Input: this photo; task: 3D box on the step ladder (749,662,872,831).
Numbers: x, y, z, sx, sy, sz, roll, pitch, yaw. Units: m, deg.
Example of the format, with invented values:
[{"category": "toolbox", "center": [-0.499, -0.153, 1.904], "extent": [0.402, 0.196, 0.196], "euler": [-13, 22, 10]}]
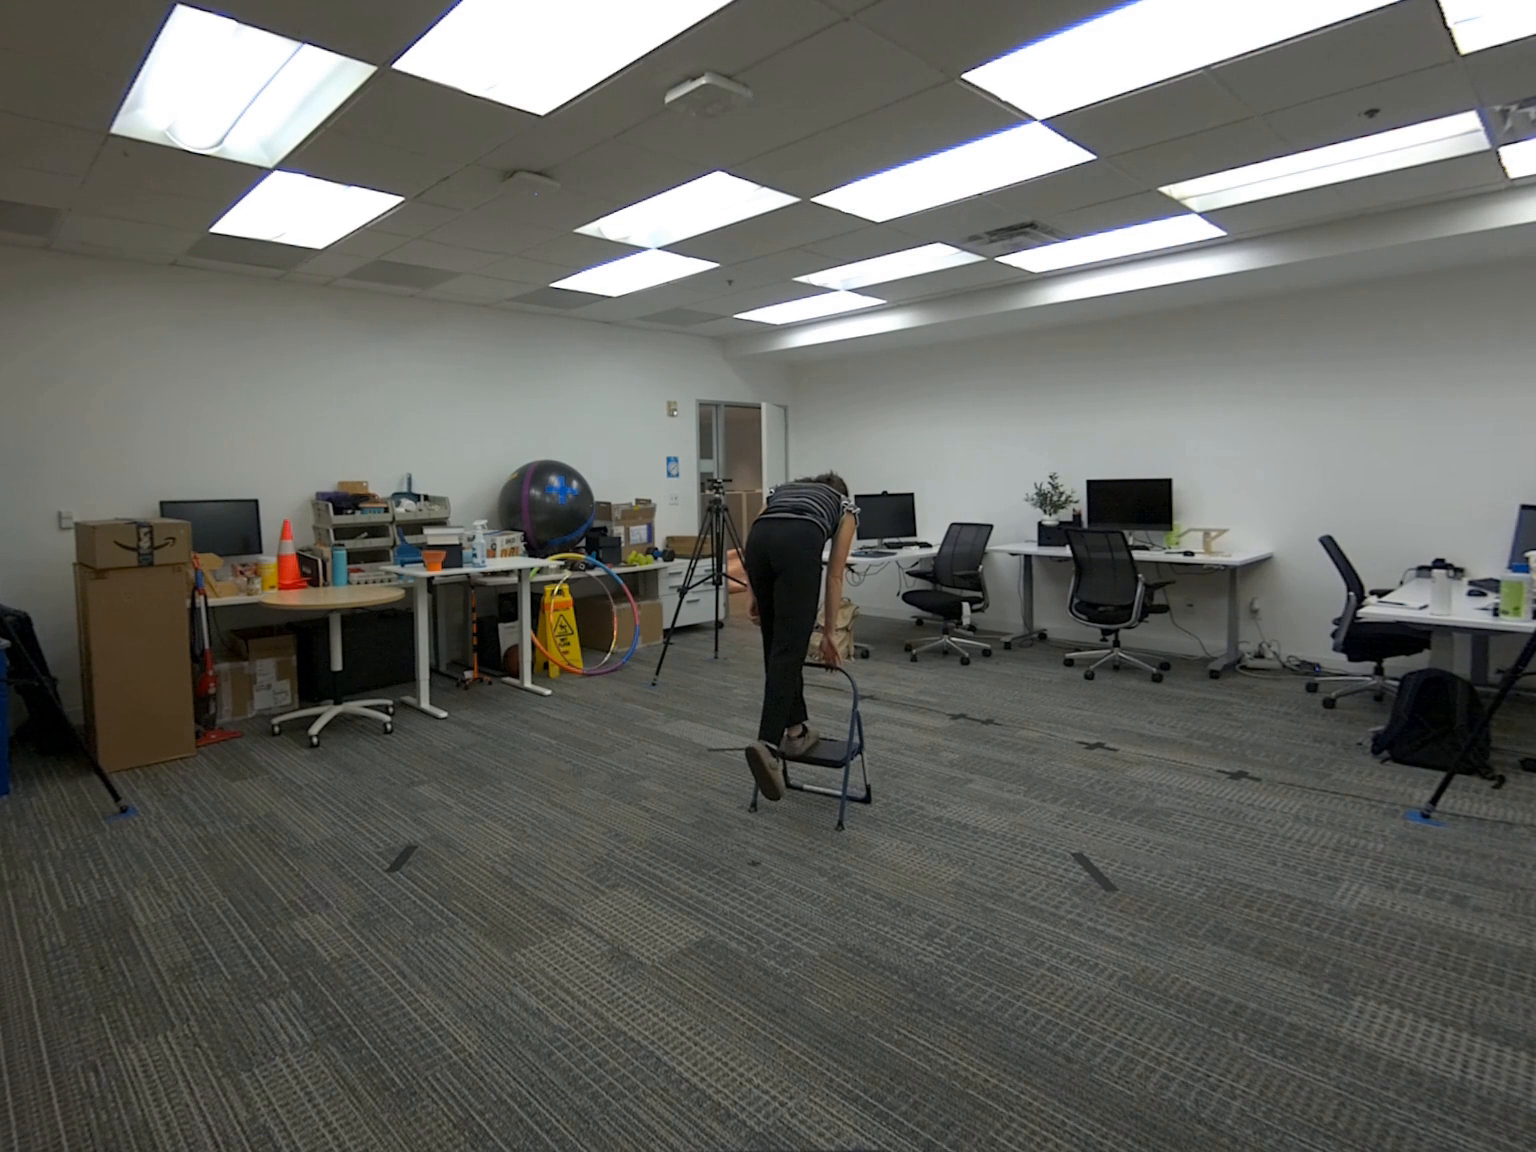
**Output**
[{"category": "step ladder", "center": [0.185, 0.684, 3.616], "extent": [0.442, 0.604, 0.341], "euler": [2, 5, 30]}]
